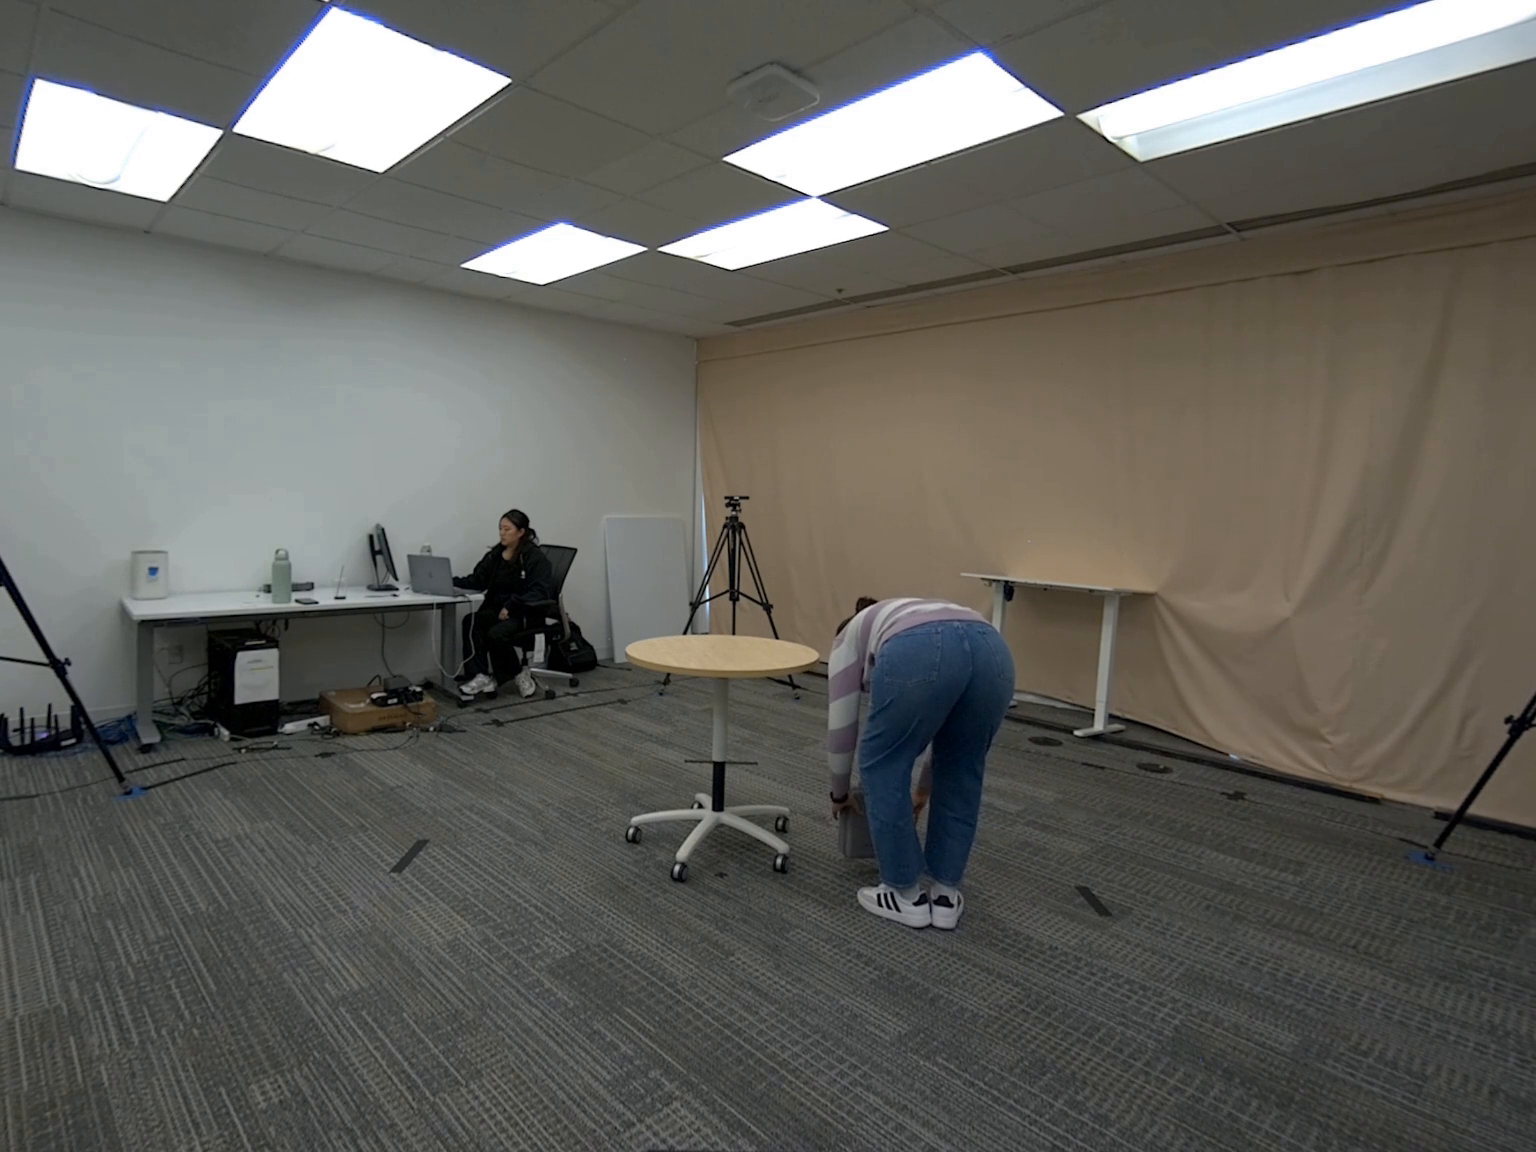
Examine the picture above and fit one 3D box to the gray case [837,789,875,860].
[{"bbox_3d":[0.397,0.914,3.164,0.253,0.261,0.106,6,-4,-19],"label":"gray case"}]
